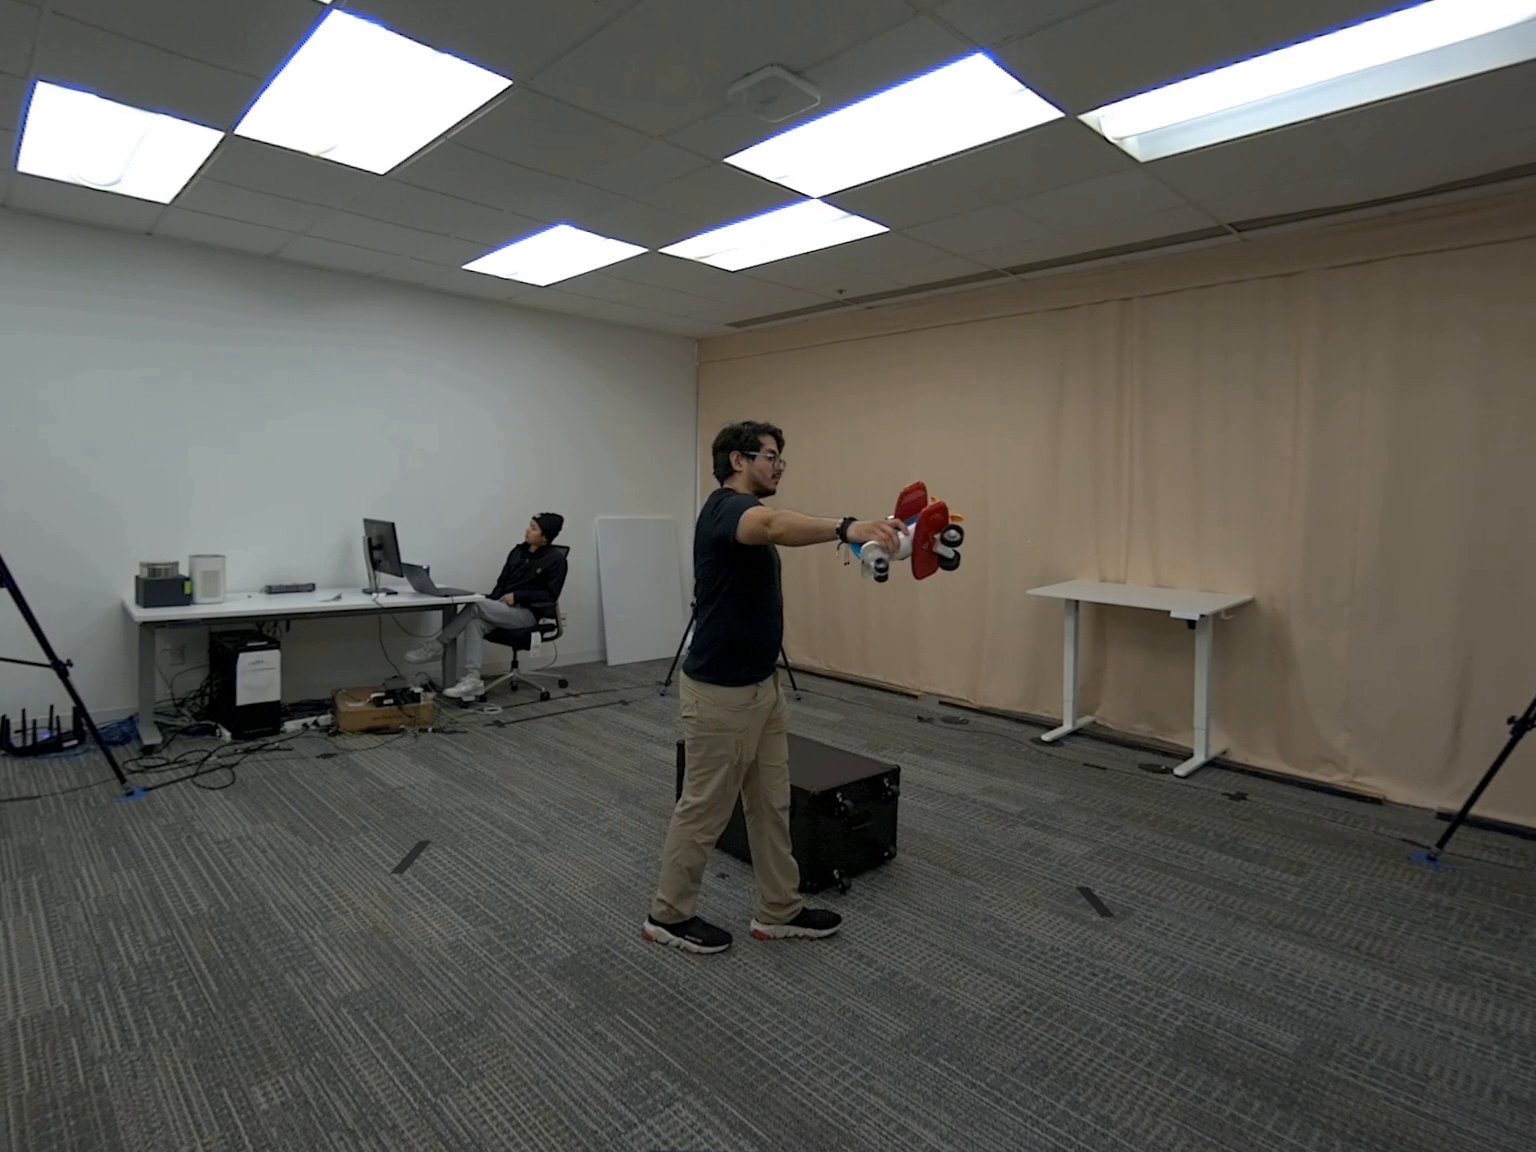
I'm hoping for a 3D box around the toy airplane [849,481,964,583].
[{"bbox_3d":[0.338,-0.096,1.983,0.254,0.249,0.161,5,44,-27],"label":"toy airplane"}]
